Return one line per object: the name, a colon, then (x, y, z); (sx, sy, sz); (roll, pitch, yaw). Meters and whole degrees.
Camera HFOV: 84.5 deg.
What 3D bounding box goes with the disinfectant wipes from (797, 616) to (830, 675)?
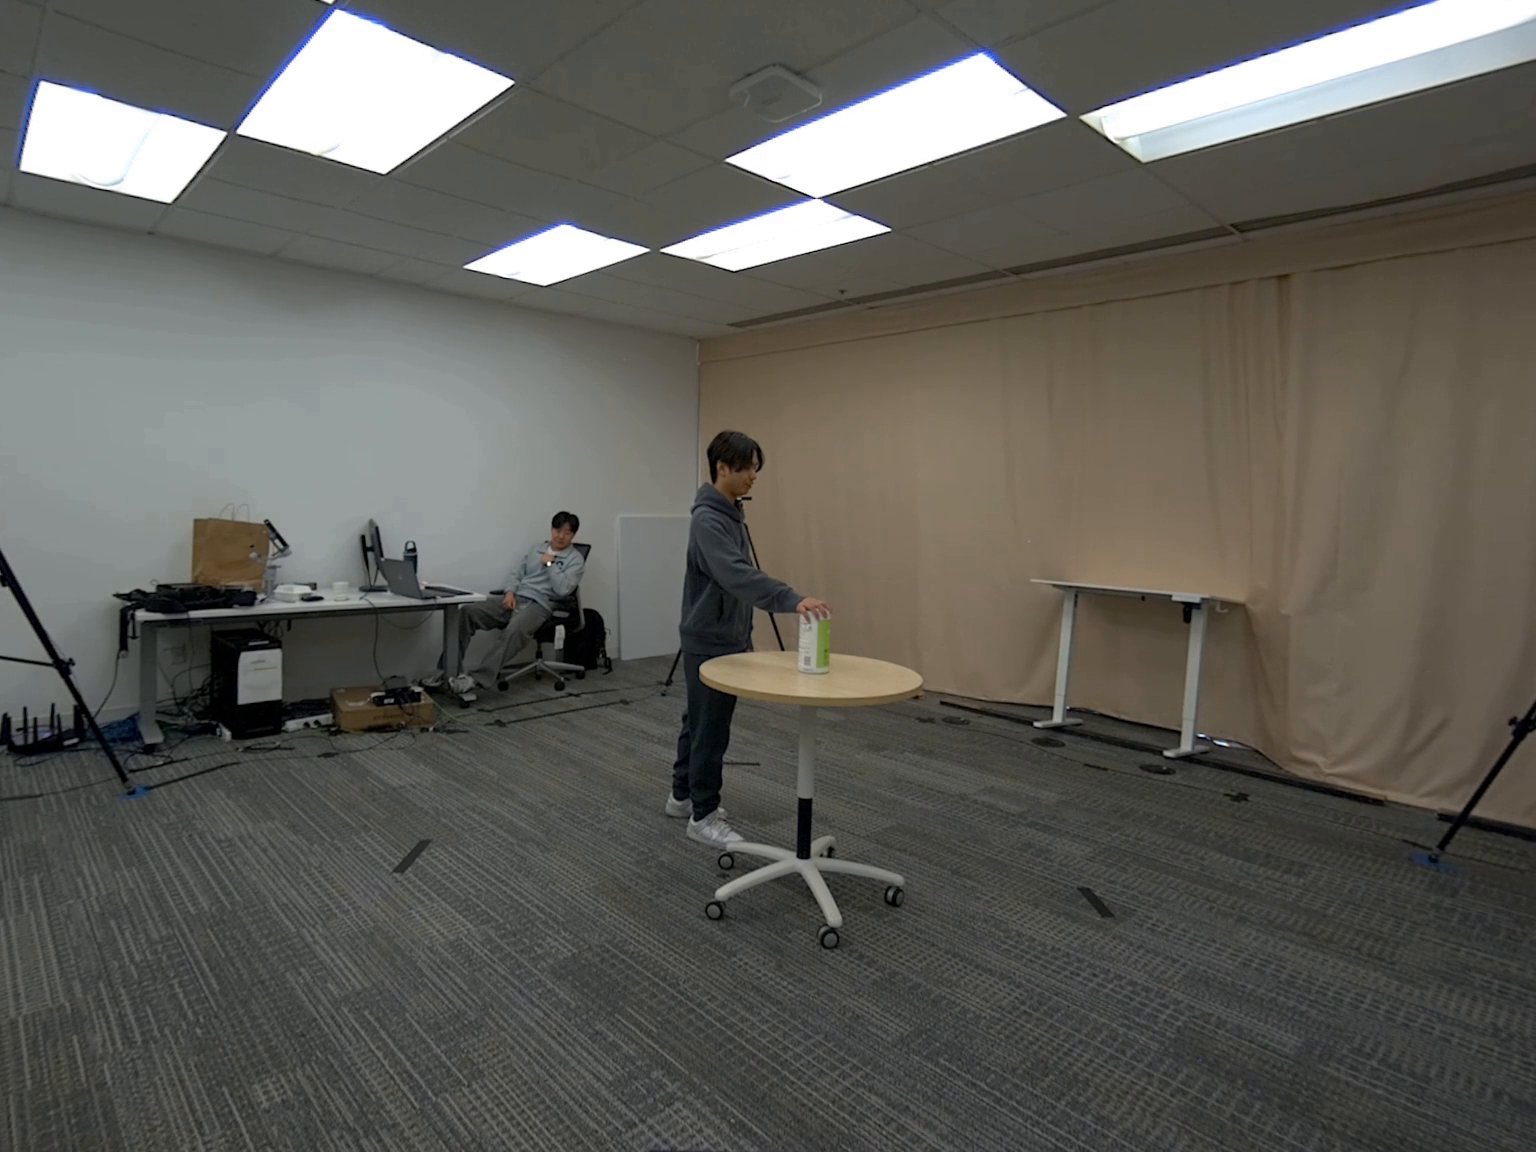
disinfectant wipes: (0.156, 0.228, 2.920); (0.118, 0.217, 0.118); (1, 3, -1)
